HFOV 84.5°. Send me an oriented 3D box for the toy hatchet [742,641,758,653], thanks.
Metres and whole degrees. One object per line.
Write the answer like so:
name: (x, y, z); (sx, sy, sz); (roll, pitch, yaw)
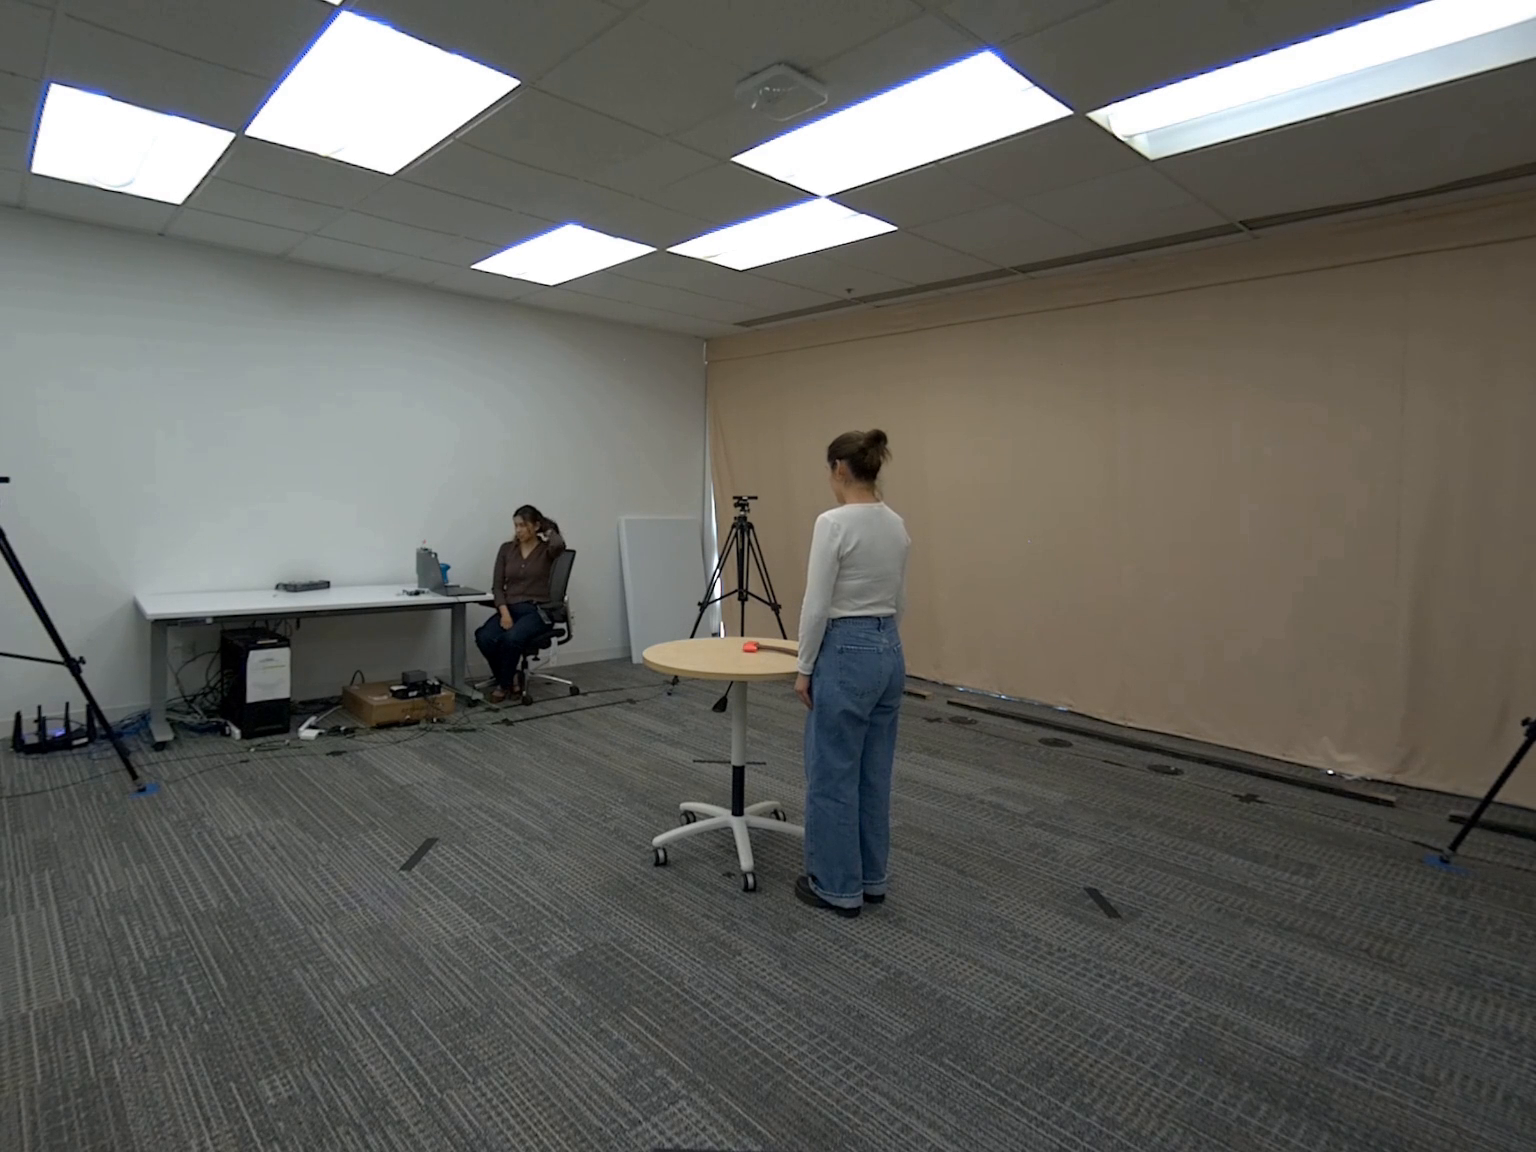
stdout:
toy hatchet: (0.001, 0.292, 3.300); (0.128, 0.029, 0.277); (-7, 10, -44)
